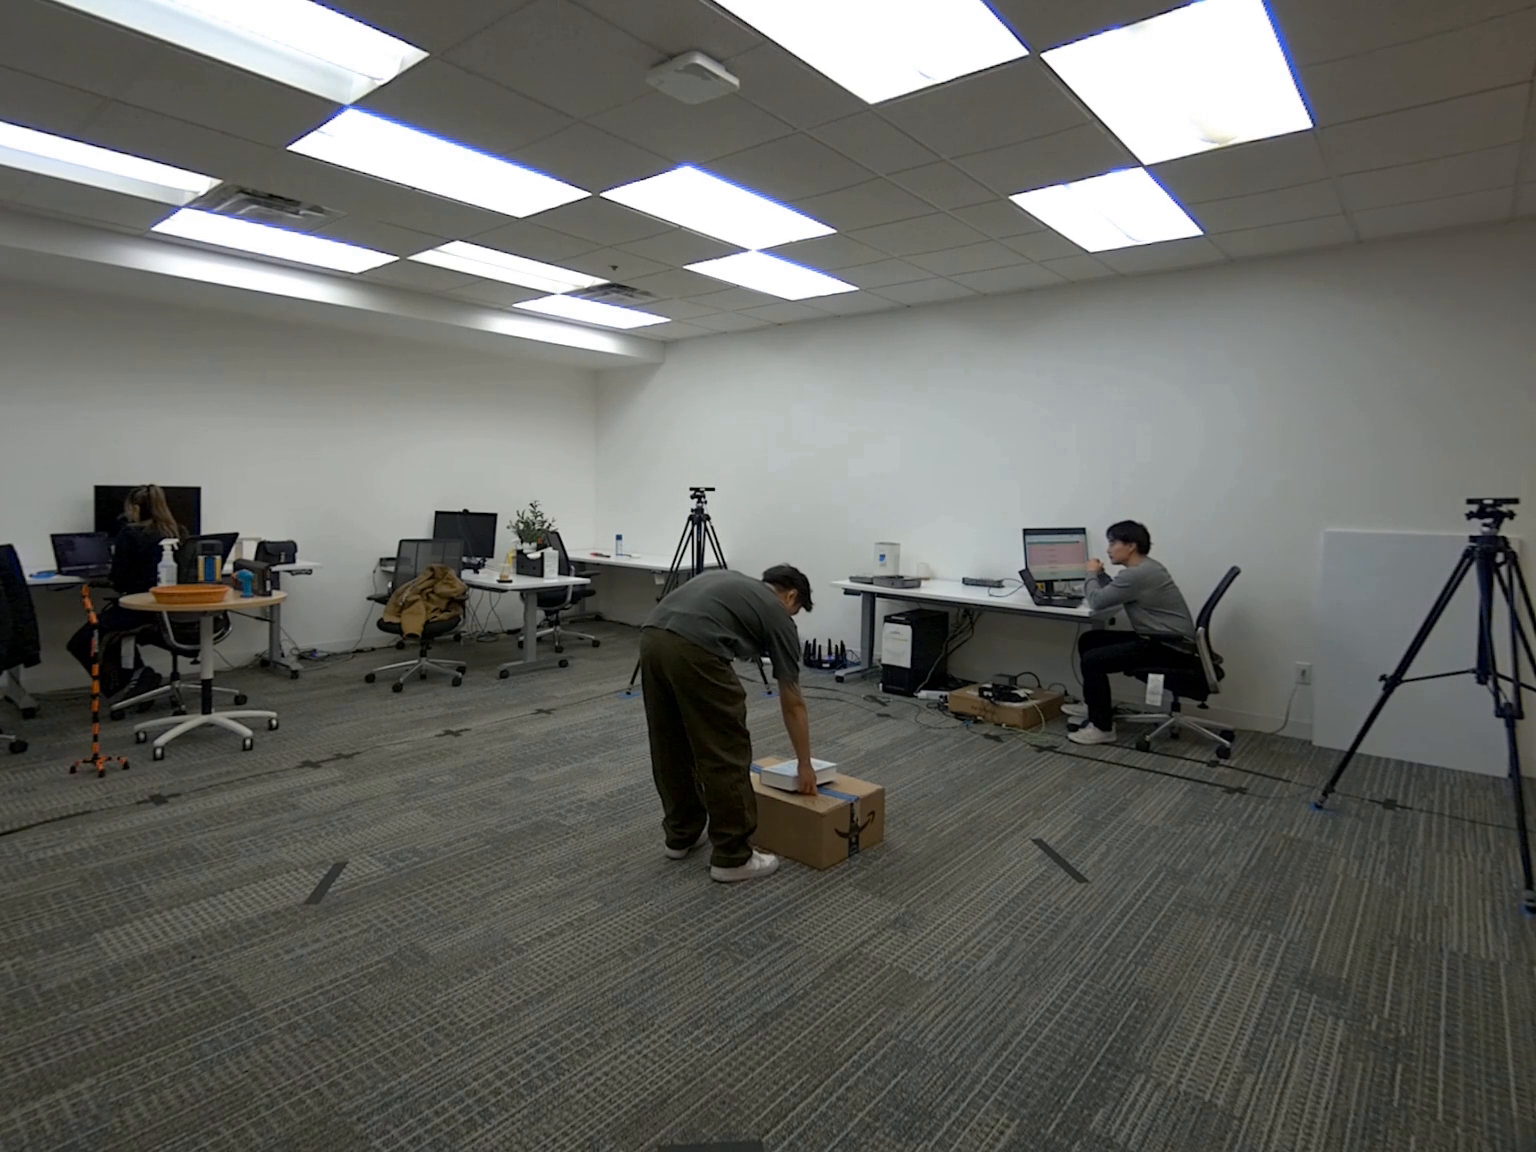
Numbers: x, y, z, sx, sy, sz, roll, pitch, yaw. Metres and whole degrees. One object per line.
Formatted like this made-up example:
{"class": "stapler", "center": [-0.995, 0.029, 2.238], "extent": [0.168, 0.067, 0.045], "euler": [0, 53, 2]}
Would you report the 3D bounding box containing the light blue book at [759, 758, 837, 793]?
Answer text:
{"class": "light blue book", "center": [0.119, 0.794, 3.444], "extent": [0.253, 0.059, 0.197], "euler": [-4, 3, -41]}
